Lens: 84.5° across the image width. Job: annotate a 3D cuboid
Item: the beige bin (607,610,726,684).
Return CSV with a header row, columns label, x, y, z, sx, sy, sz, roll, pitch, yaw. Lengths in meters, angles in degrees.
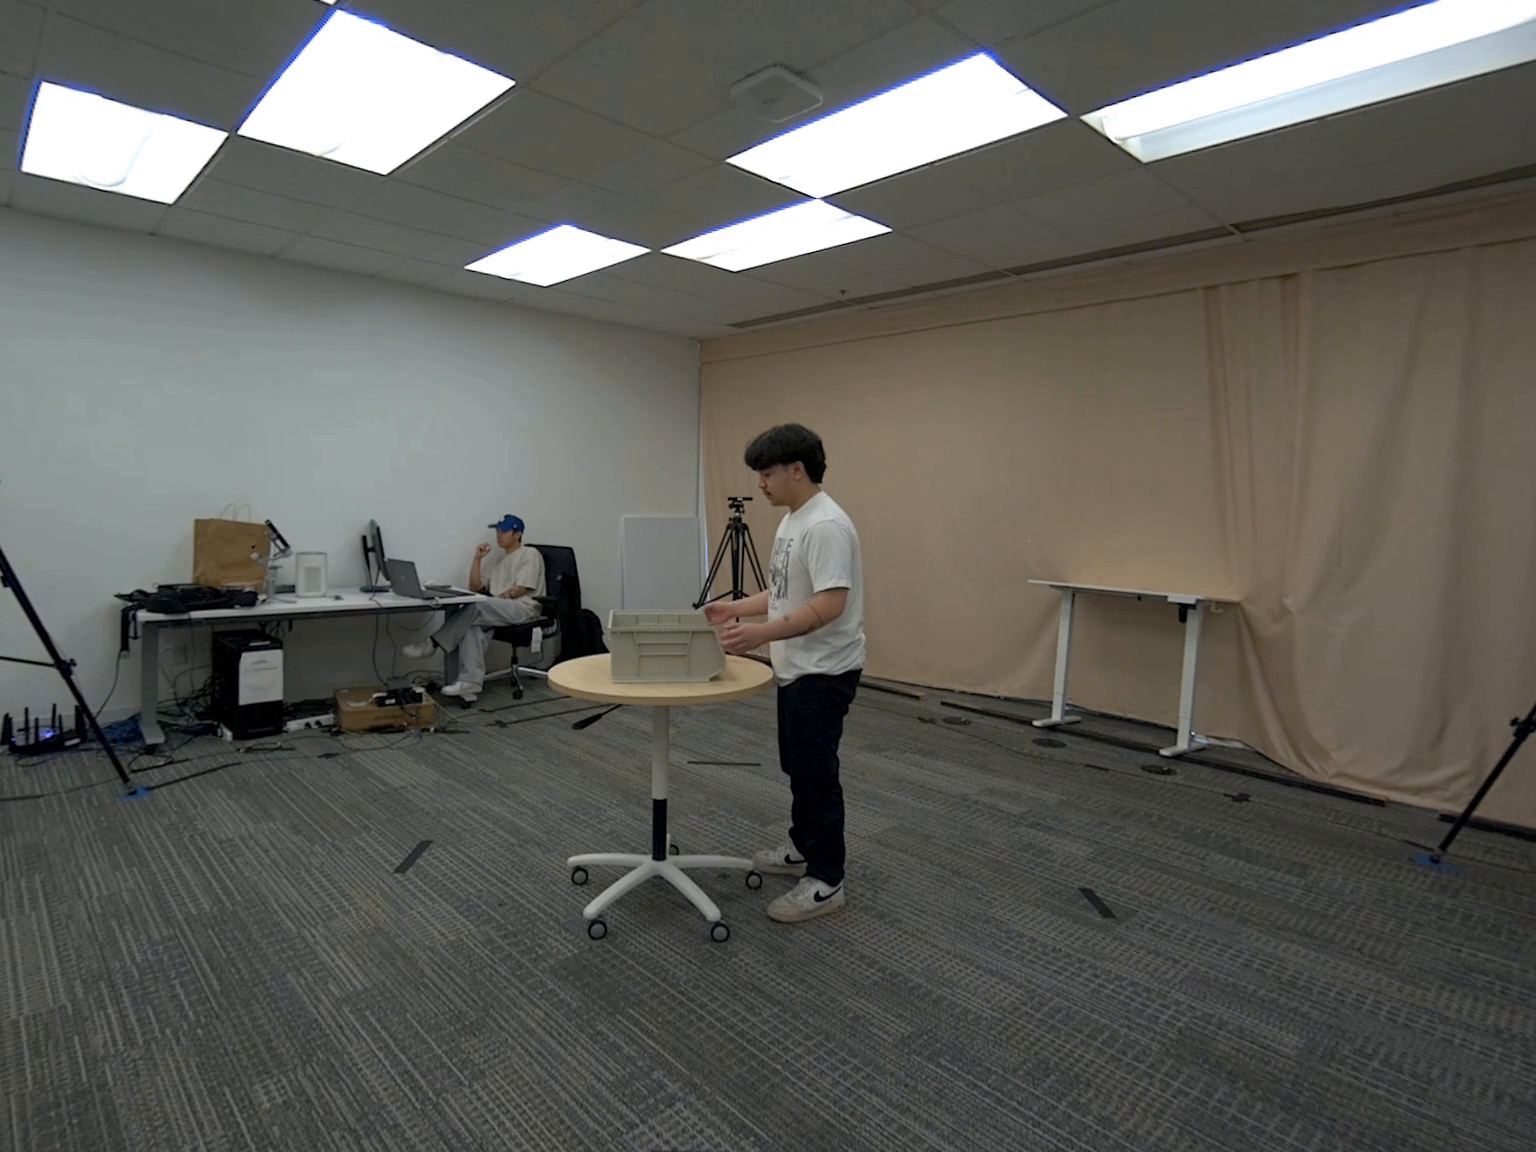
label,x,y,z,sx,sy,sz,roll,pitch,yaw
beige bin,-0.365,0.237,2.892,0.375,0.188,0.427,0,6,-9
